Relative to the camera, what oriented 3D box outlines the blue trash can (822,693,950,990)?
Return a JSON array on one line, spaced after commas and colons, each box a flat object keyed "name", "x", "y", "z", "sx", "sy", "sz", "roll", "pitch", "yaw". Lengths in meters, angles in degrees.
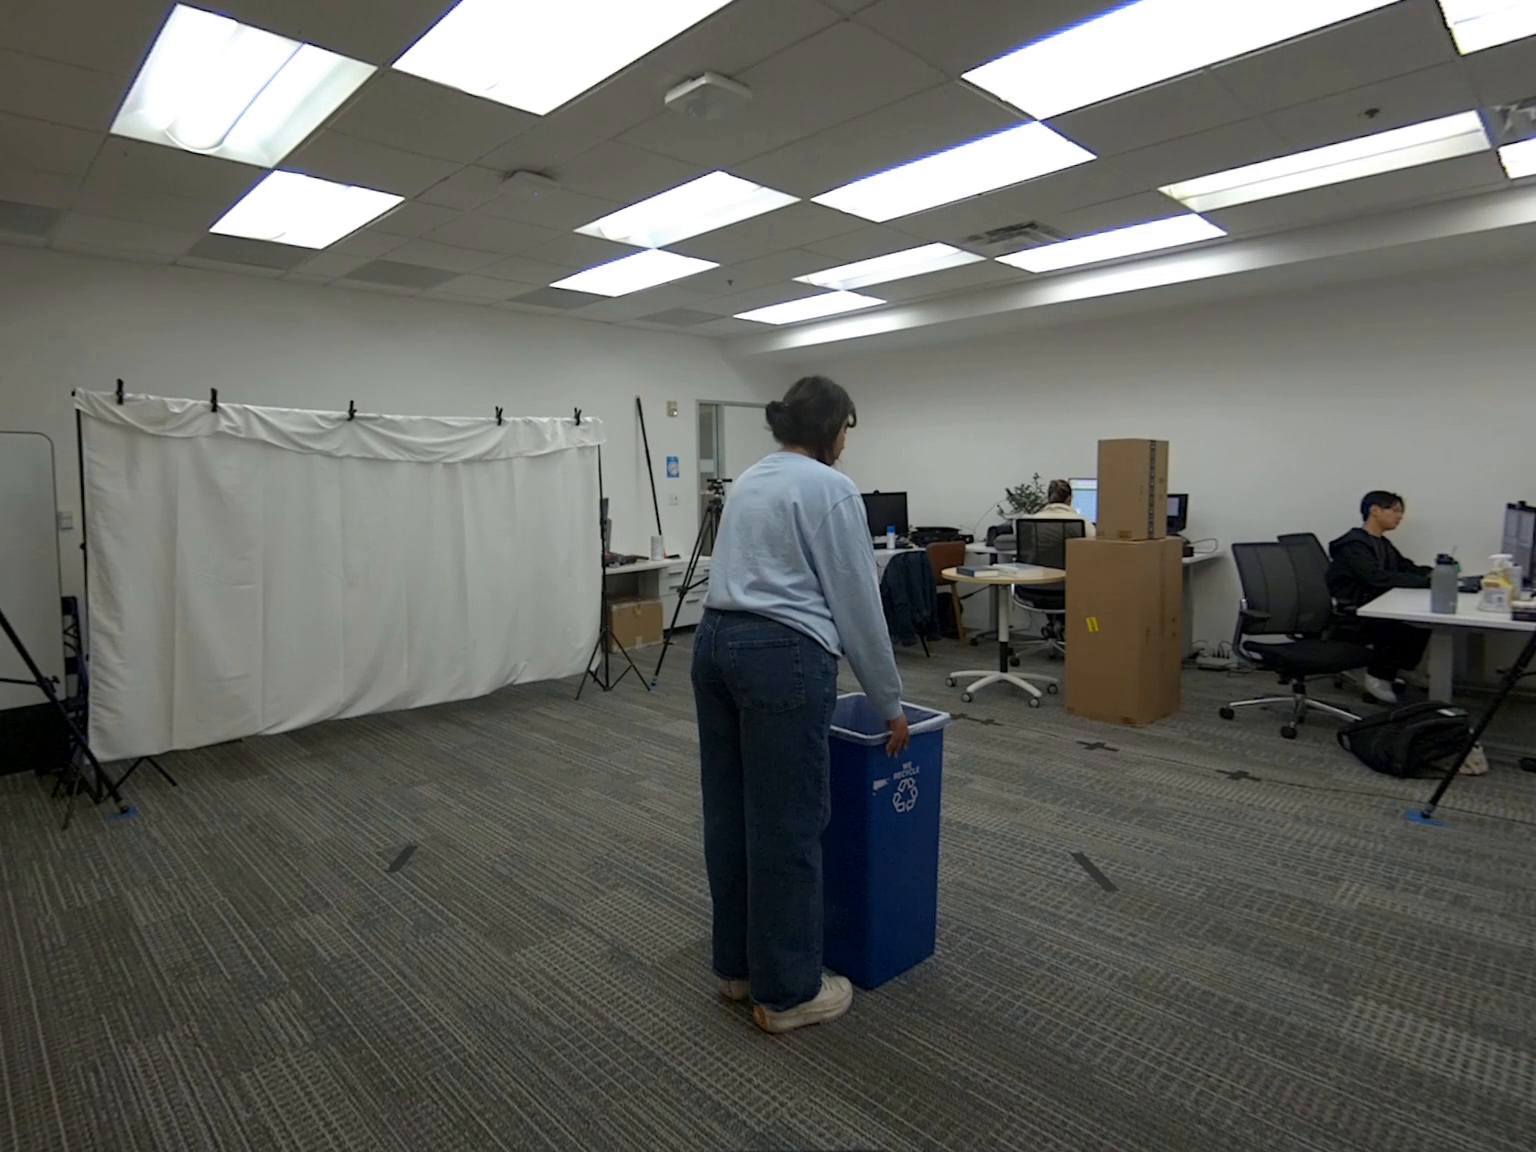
[{"name": "blue trash can", "x": 0.289, "y": 0.751, "z": 2.511, "sx": 0.364, "sy": 0.711, "sz": 0.390, "roll": -4, "pitch": 6, "yaw": -41}]
